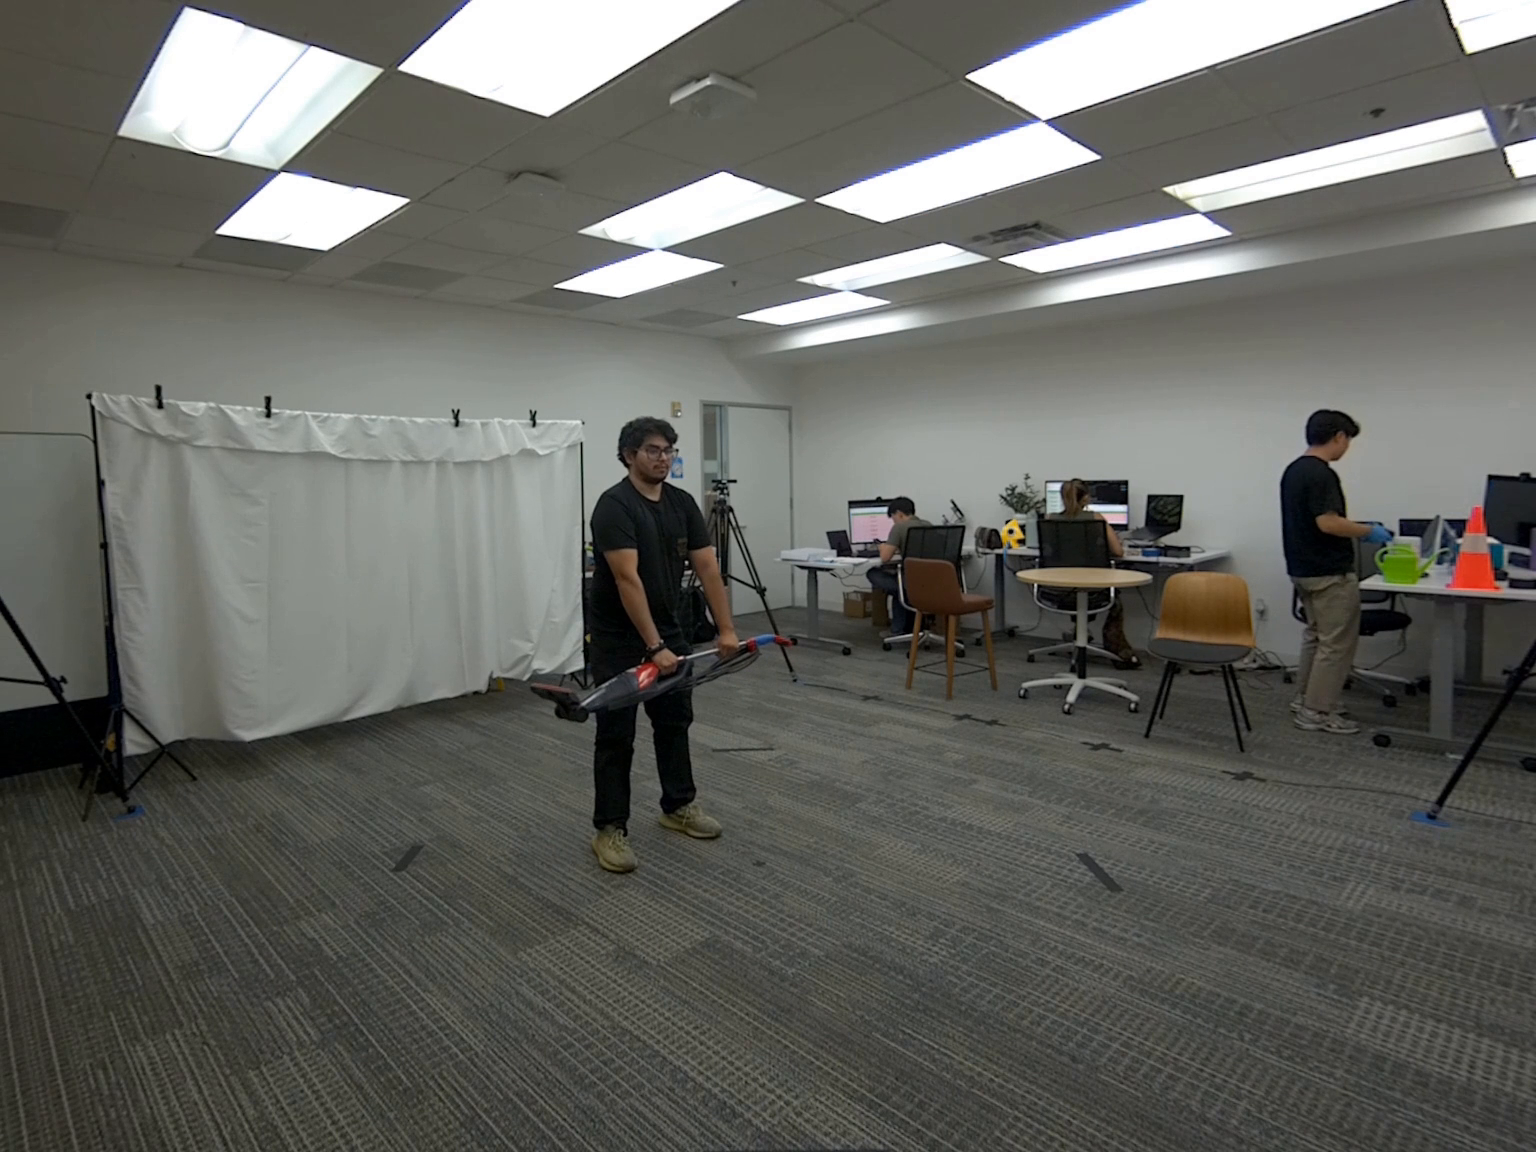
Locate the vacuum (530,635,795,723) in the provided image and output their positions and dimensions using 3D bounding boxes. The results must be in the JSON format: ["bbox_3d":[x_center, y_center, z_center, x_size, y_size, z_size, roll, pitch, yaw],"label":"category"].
[{"bbox_3d":[-0.287,0.348,3.076,1.024,0.144,0.259,-9,2,-40],"label":"vacuum"}]
